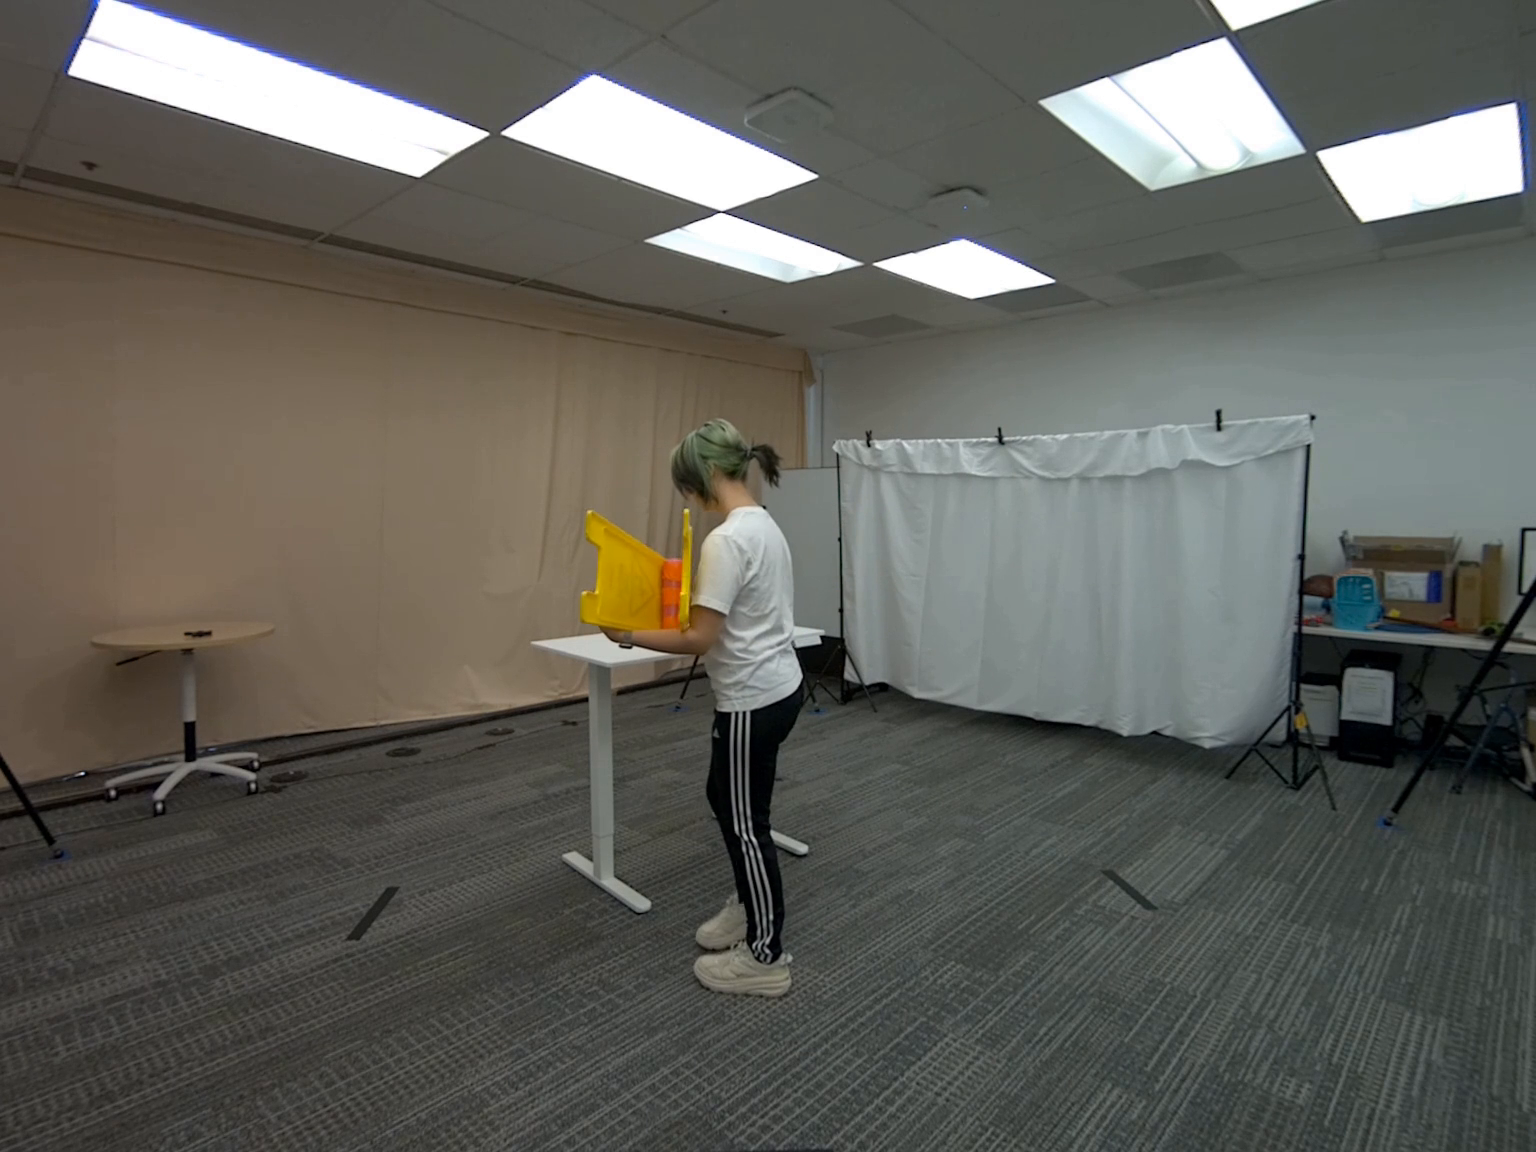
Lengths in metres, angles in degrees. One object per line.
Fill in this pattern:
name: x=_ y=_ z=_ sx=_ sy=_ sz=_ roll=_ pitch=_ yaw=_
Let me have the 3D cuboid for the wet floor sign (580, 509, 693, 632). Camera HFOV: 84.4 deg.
wet floor sign: x=-0.284 y=0.040 z=2.345 sx=0.292 sy=0.284 sz=0.636 roll=1 pitch=-12 yaw=6
